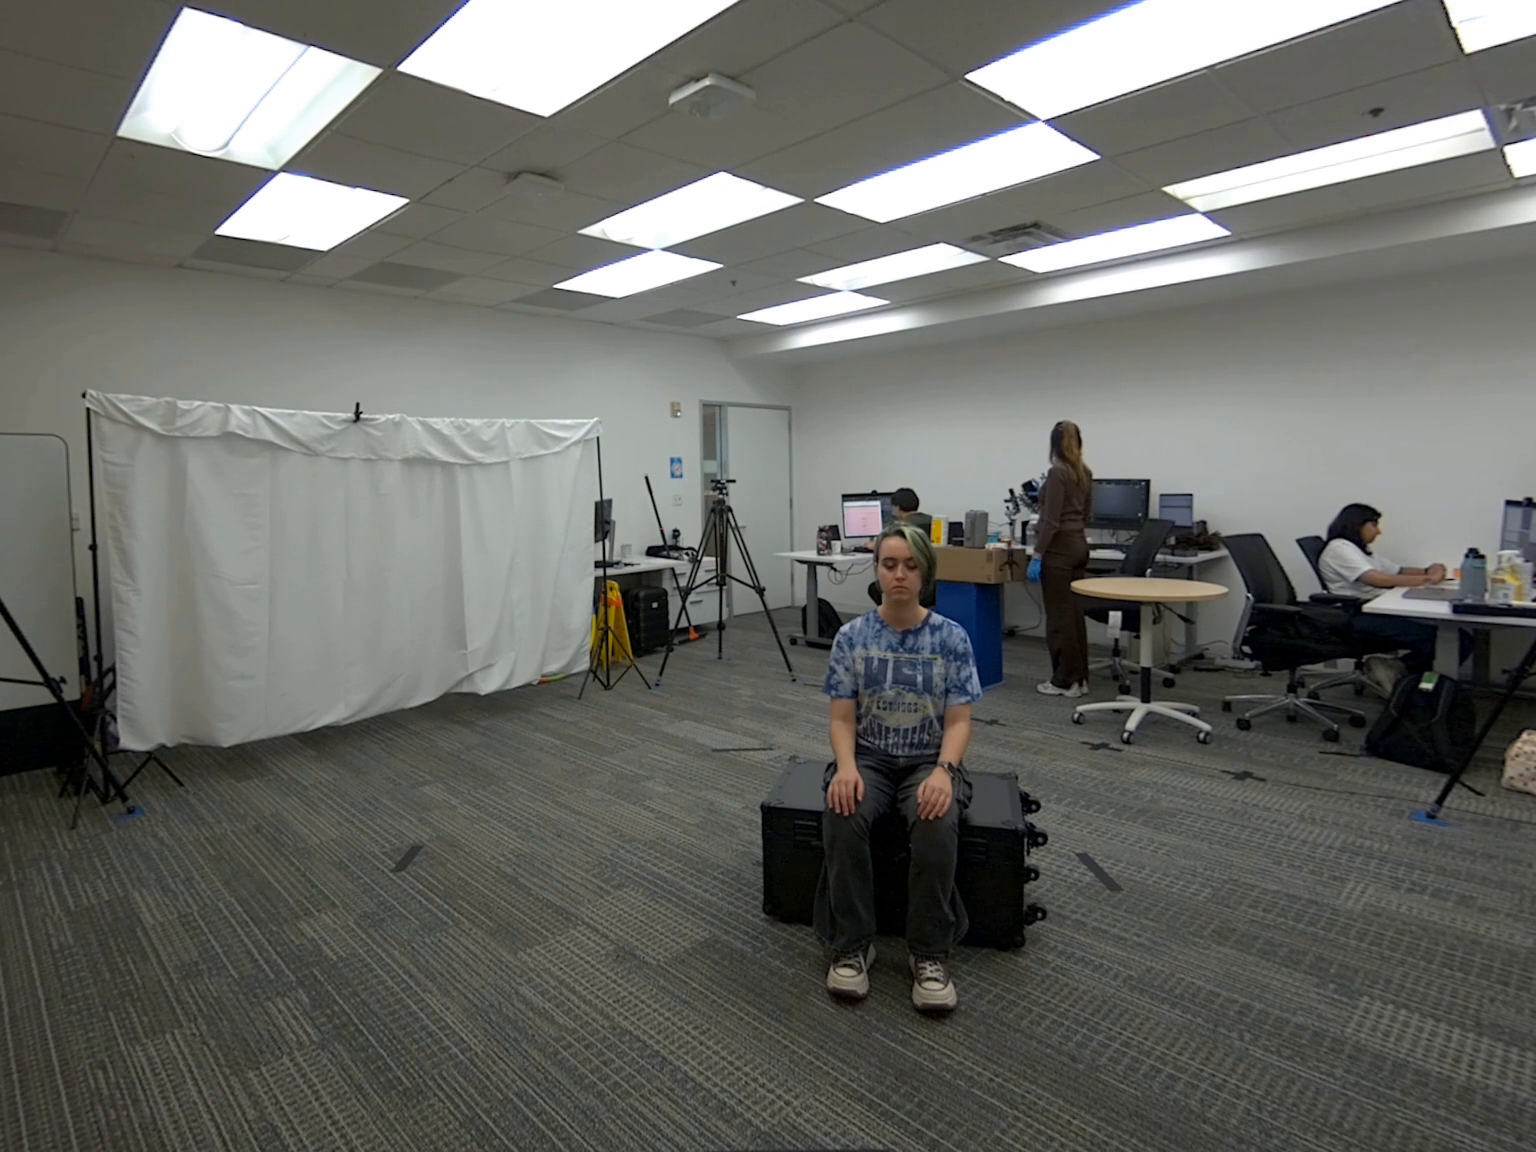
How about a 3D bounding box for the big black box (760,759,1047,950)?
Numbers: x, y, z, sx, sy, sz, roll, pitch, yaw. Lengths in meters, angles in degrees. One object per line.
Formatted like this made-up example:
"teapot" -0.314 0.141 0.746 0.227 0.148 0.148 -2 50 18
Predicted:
"big black box" 0.448 0.882 2.801 0.874 0.395 0.516 0 5 14
